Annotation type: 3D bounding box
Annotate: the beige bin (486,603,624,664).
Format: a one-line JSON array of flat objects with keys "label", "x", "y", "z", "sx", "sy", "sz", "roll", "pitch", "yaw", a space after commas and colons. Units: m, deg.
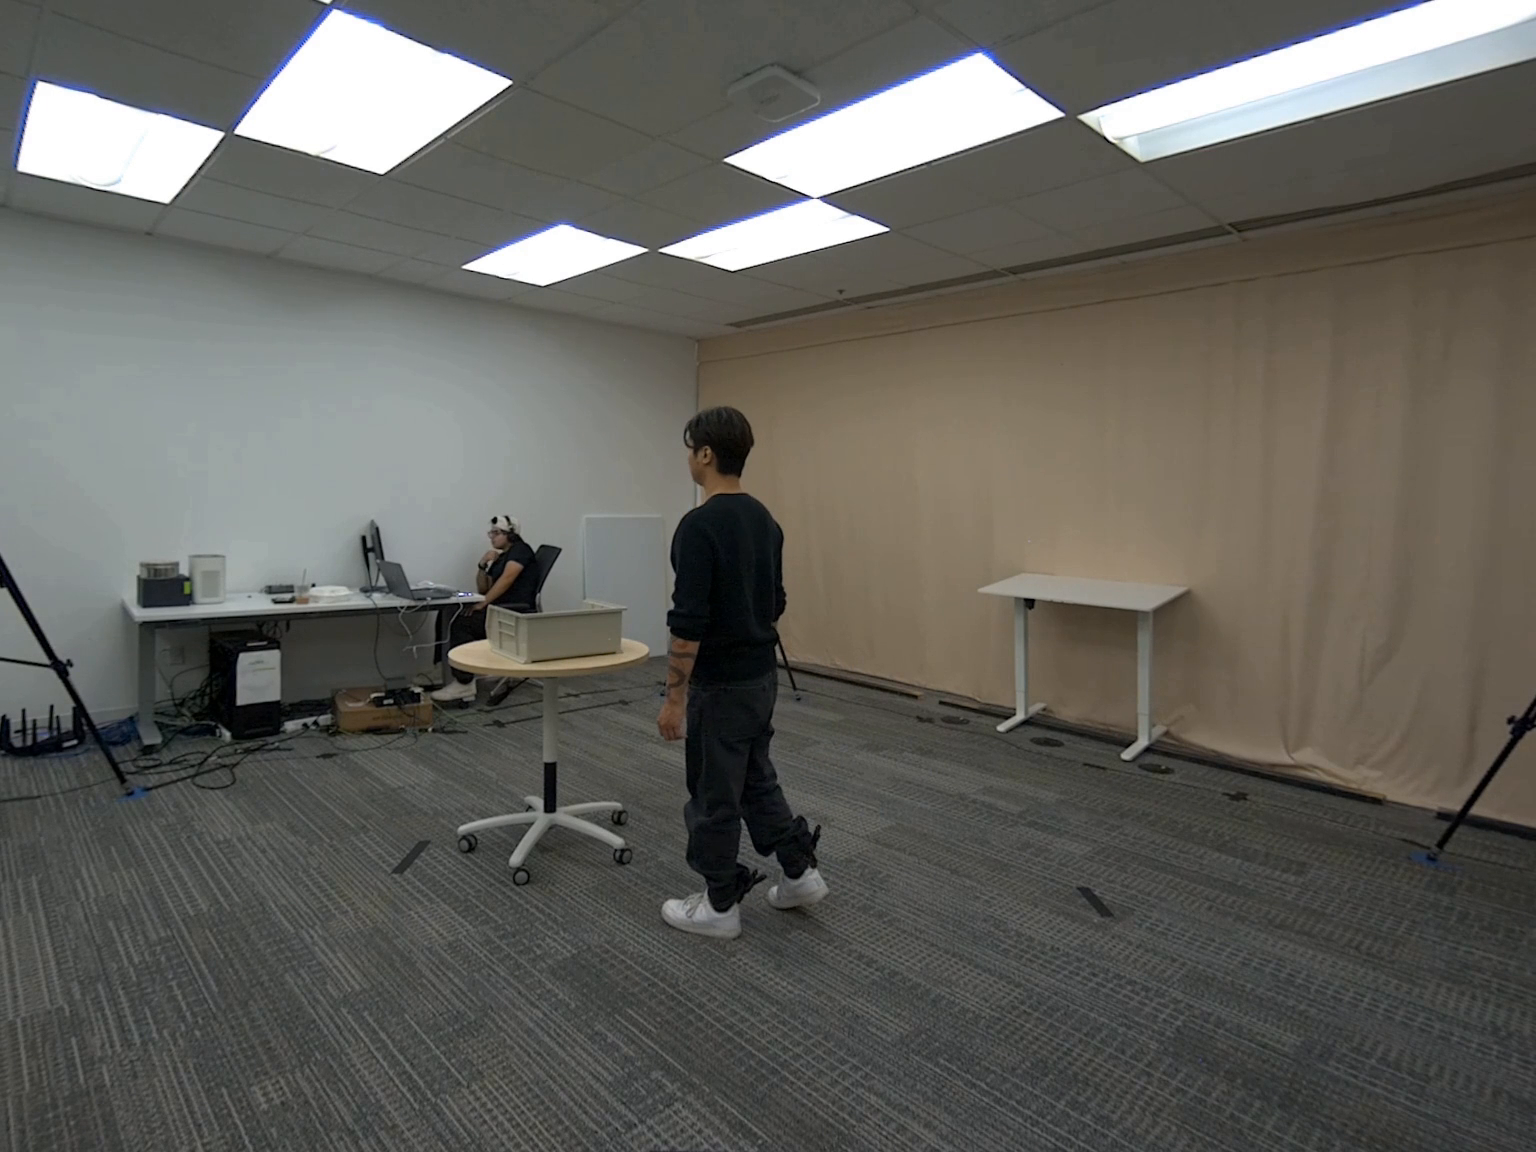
[{"label": "beige bin", "x": -0.828, "y": 0.203, "z": 3.259, "sx": 0.413, "sy": 0.188, "sz": 0.387, "roll": -2, "pitch": 8, "yaw": -39}]
